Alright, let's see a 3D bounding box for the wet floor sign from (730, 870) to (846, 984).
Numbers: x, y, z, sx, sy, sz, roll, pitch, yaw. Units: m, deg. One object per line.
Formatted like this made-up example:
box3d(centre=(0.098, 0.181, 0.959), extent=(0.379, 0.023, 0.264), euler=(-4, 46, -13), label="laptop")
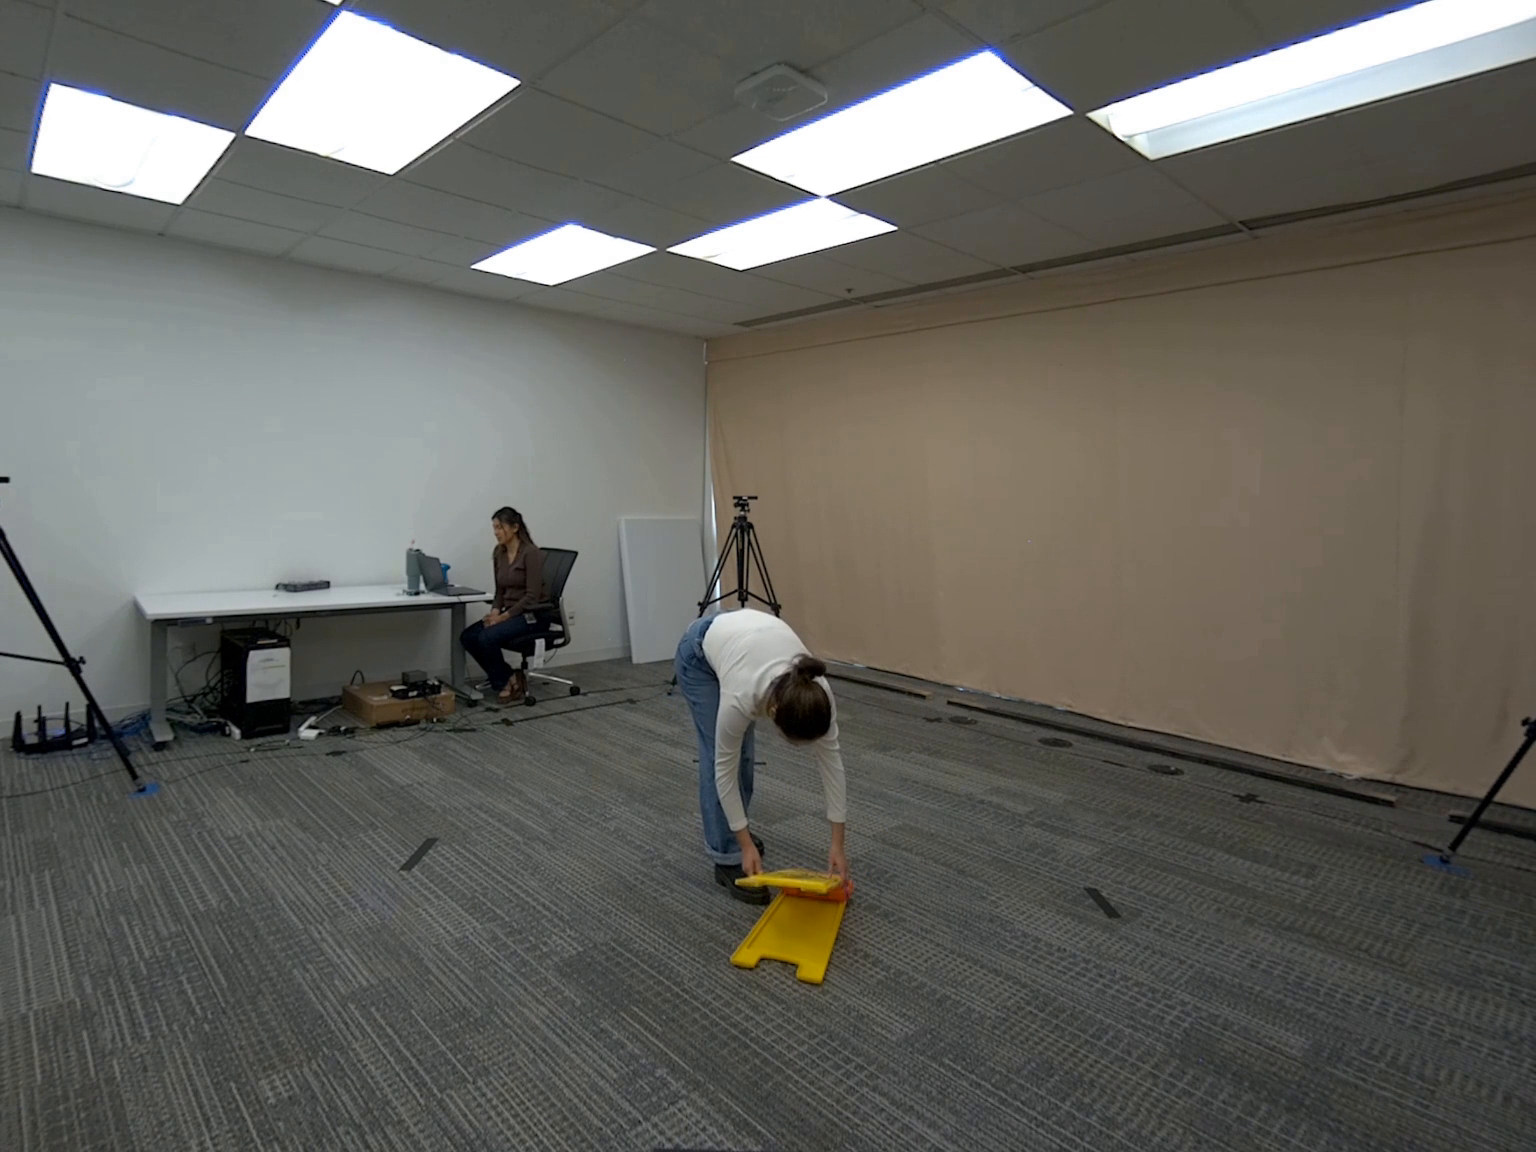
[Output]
box3d(centre=(0.114, 1.062, 2.760), extent=(0.286, 0.291, 0.635), euler=(0, -4, 17), label="wet floor sign")
